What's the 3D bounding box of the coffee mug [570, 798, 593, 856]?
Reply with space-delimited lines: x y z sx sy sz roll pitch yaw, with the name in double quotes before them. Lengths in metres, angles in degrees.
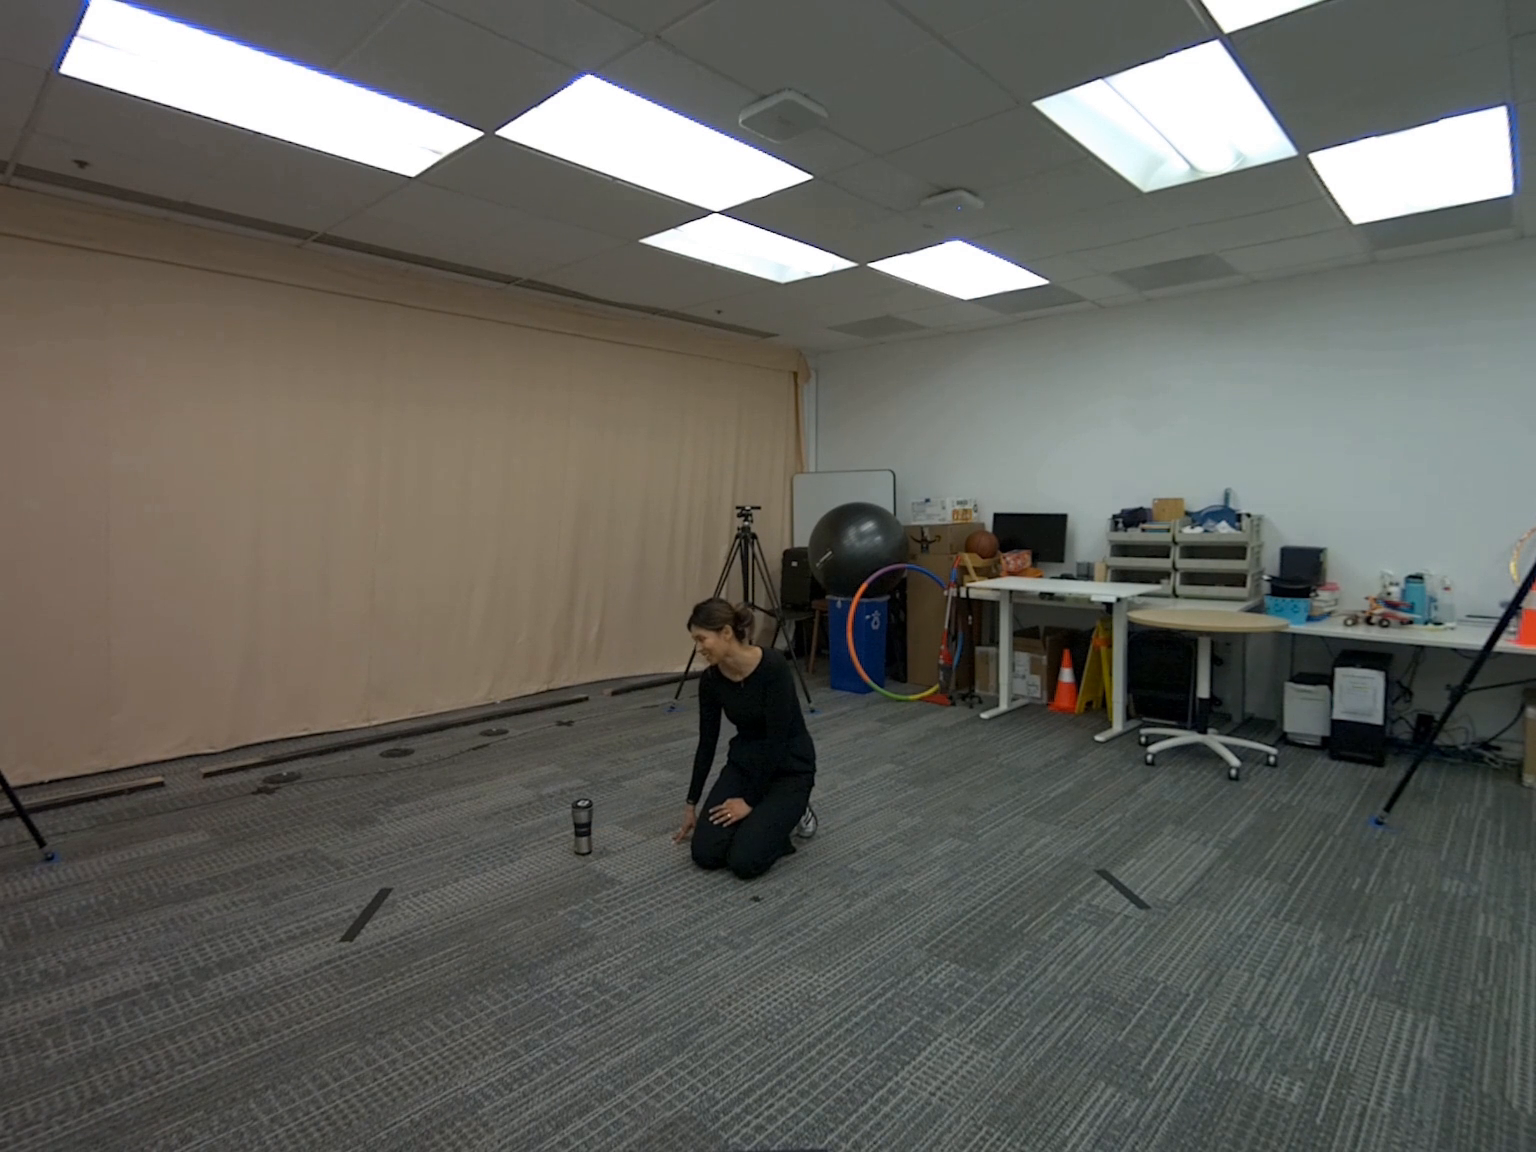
"coffee mug" -0.752 1.020 3.425 0.087 0.202 0.124 -4 6 -12
